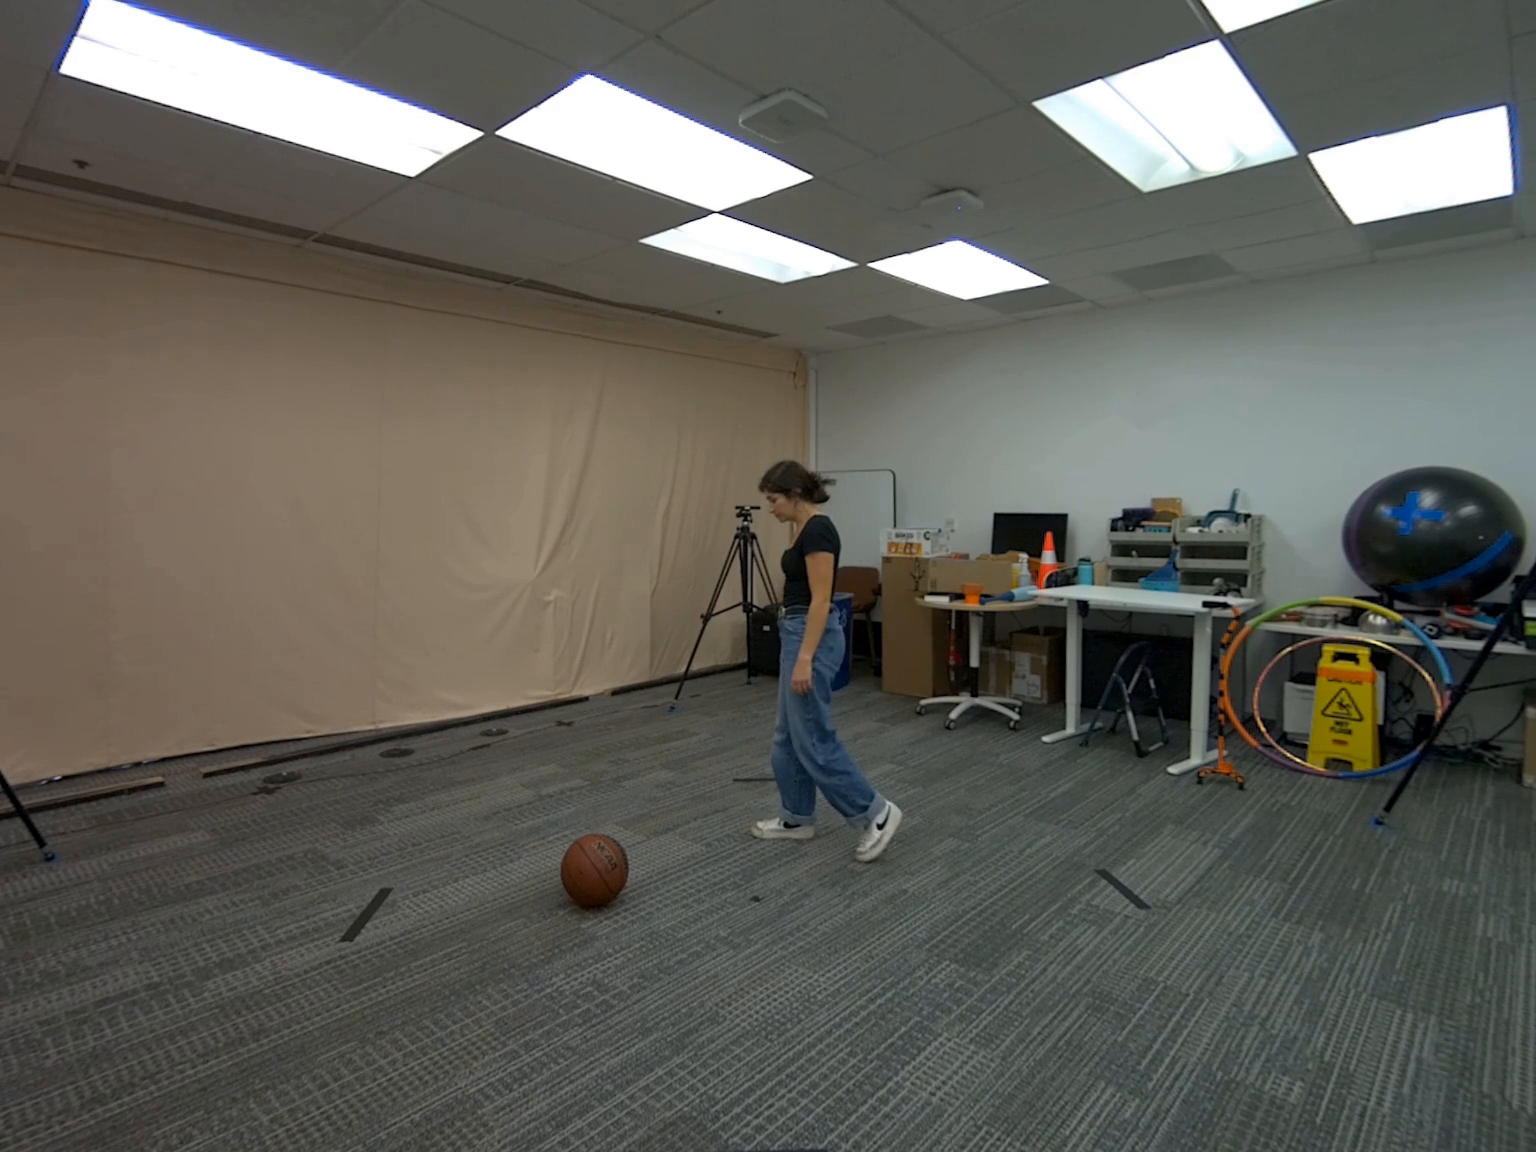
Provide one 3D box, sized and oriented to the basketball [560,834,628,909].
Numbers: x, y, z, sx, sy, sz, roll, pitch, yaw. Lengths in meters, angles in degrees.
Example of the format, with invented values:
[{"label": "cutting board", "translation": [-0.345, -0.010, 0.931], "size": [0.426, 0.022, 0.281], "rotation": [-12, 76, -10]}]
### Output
[{"label": "basketball", "translation": [-0.609, 1.031, 2.956], "size": [0.236, 0.235, 0.237], "rotation": [0, 4, -2]}]
